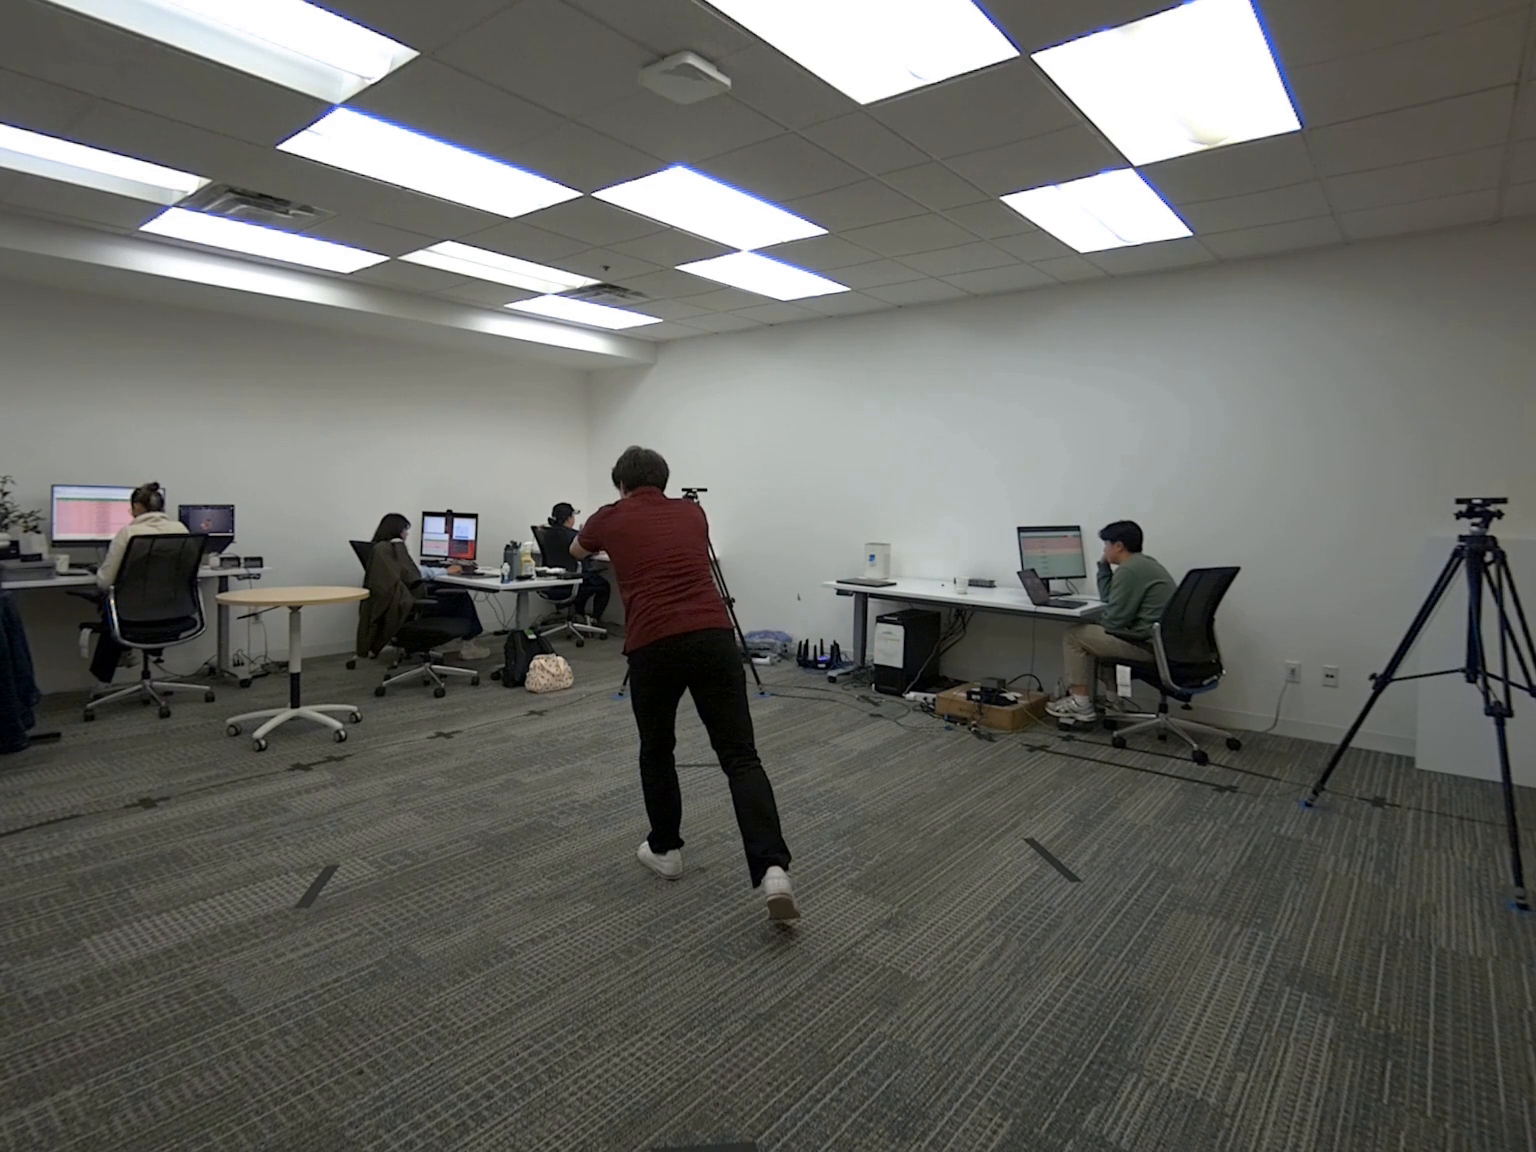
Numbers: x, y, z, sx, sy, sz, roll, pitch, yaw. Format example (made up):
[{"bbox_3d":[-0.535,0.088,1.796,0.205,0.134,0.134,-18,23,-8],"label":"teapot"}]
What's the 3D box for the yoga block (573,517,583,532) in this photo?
[{"bbox_3d":[-0.748,-0.165,3.759,0.146,0.075,0.236,0,15,-17],"label":"yoga block"}]
